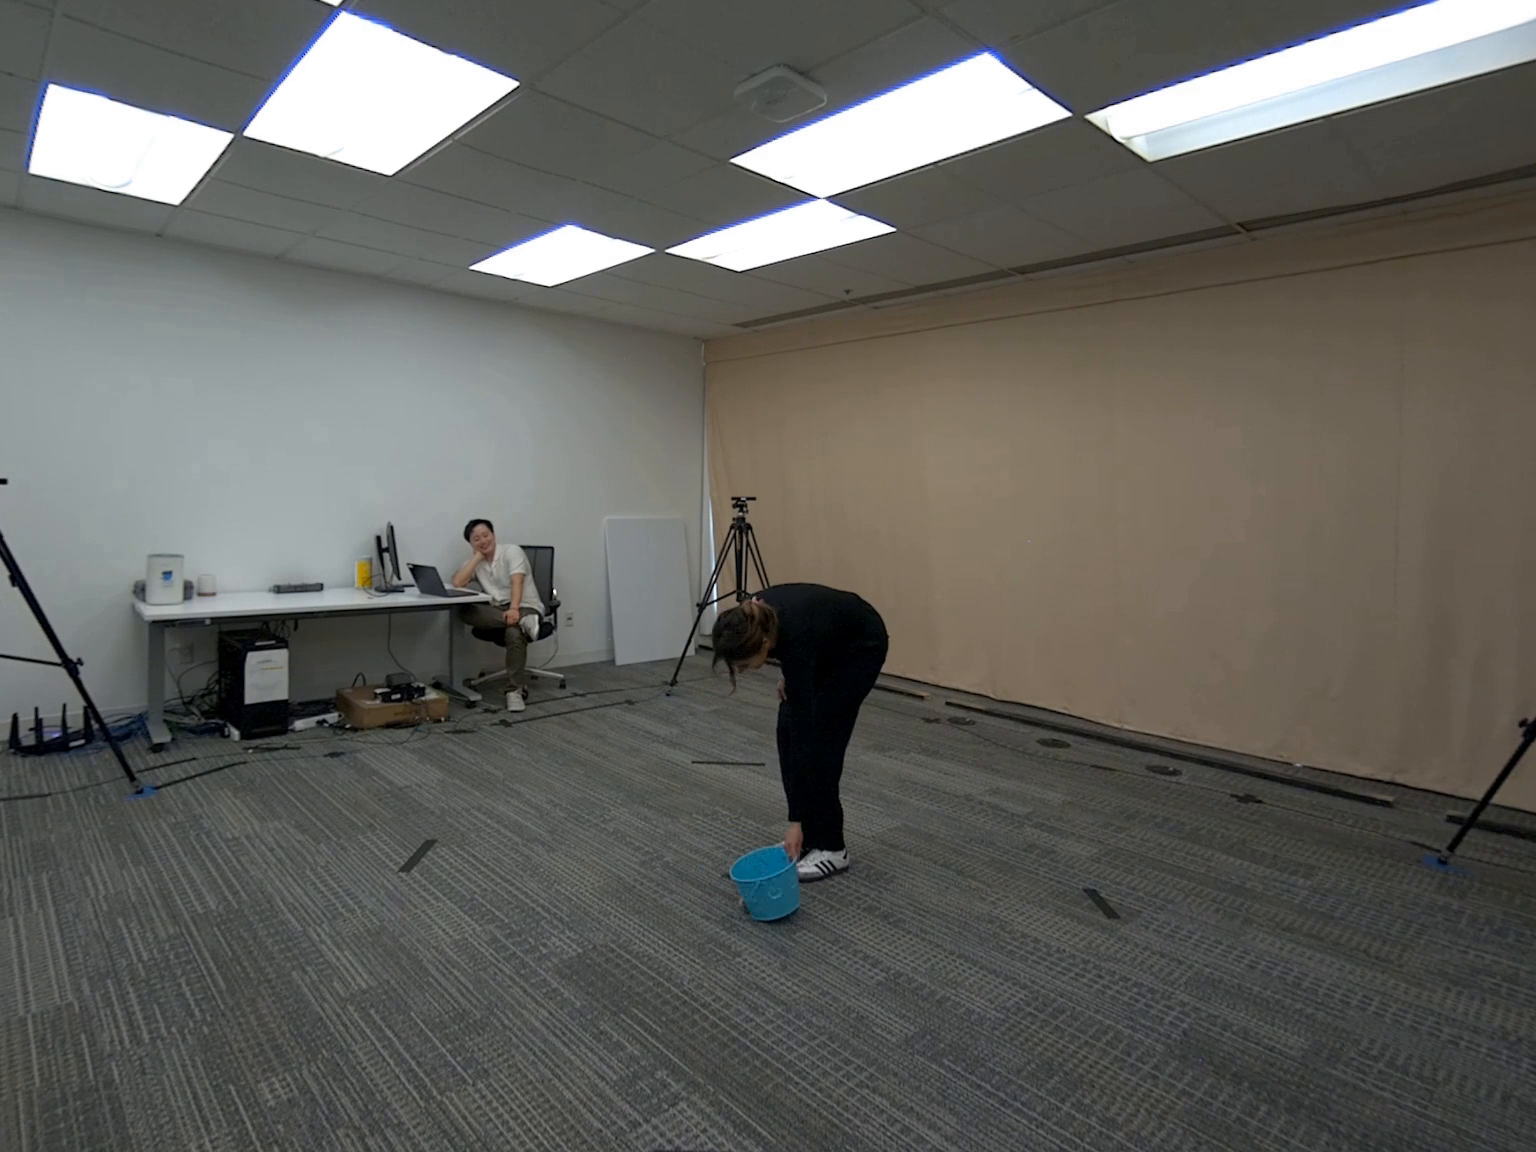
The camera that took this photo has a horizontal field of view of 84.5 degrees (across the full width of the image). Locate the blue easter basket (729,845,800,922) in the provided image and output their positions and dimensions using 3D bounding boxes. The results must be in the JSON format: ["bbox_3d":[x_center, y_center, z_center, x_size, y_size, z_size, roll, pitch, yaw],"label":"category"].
[{"bbox_3d":[0.002,1.039,2.834,0.243,0.155,0.245,-16,6,0],"label":"blue easter basket"}]
